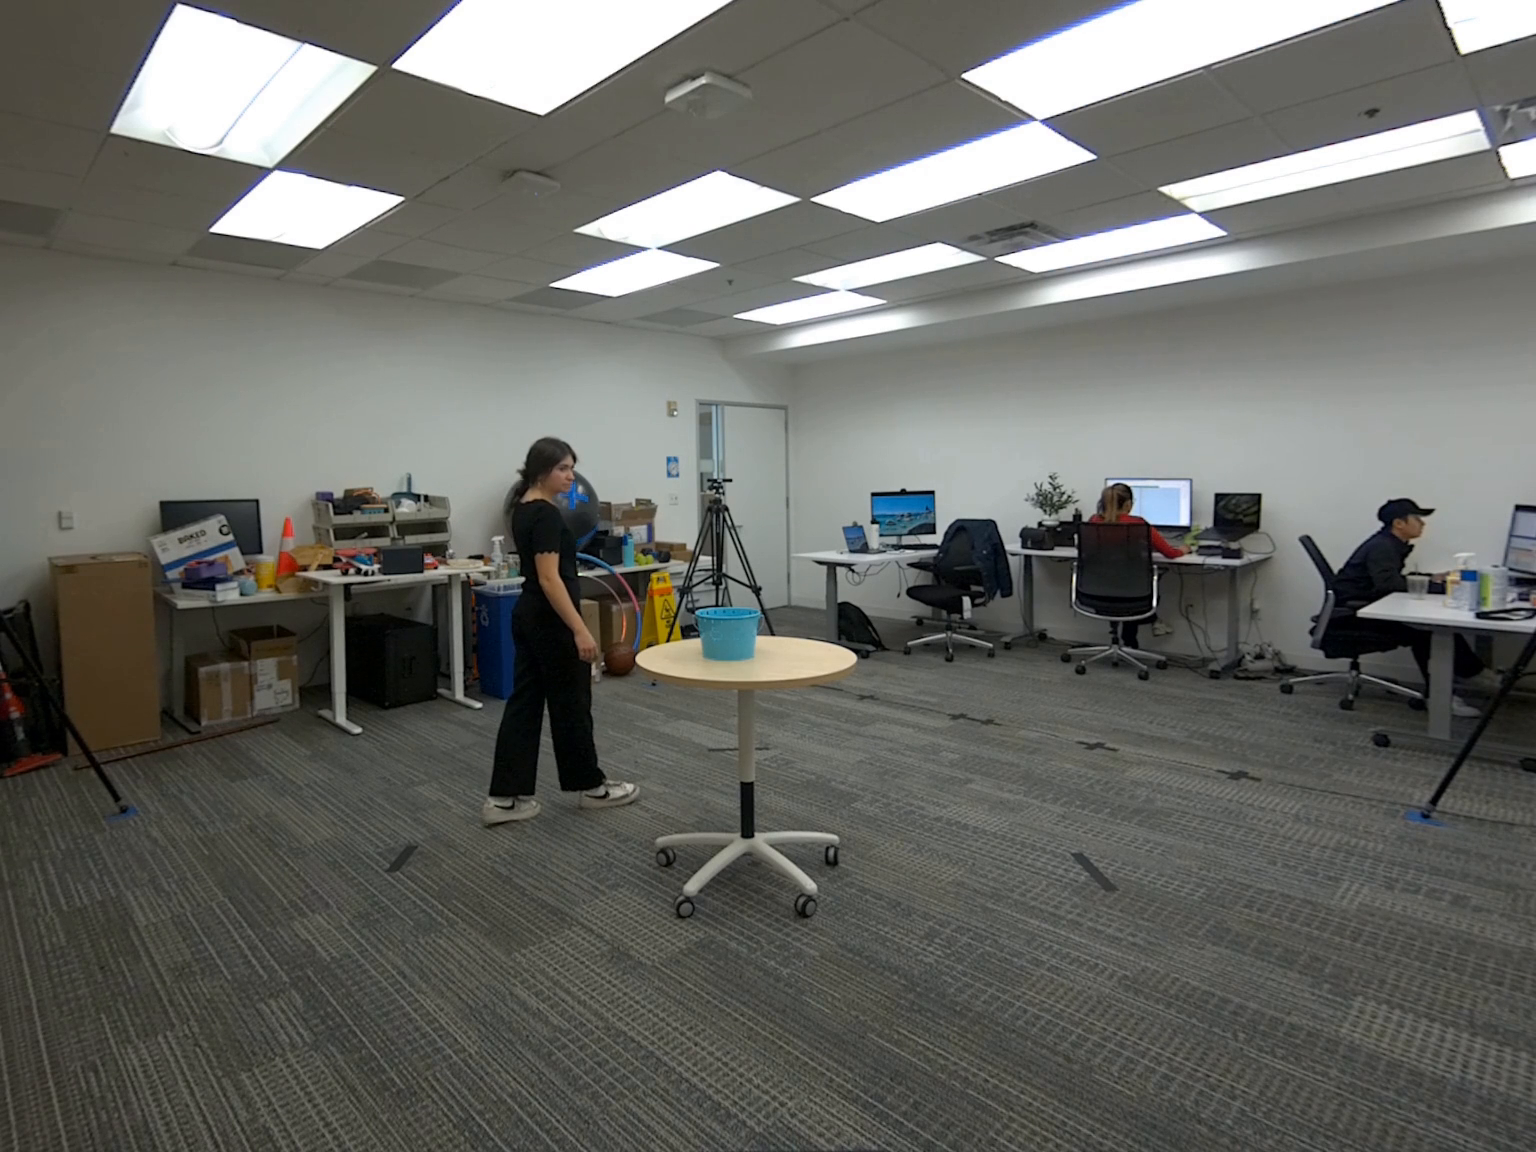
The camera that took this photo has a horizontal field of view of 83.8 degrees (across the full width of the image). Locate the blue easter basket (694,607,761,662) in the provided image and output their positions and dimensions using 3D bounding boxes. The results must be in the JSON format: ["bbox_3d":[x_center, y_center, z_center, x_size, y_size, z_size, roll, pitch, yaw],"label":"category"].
[{"bbox_3d":[-0.130,0.203,2.976,0.243,0.155,0.245,-1,5,-2],"label":"blue easter basket"}]
